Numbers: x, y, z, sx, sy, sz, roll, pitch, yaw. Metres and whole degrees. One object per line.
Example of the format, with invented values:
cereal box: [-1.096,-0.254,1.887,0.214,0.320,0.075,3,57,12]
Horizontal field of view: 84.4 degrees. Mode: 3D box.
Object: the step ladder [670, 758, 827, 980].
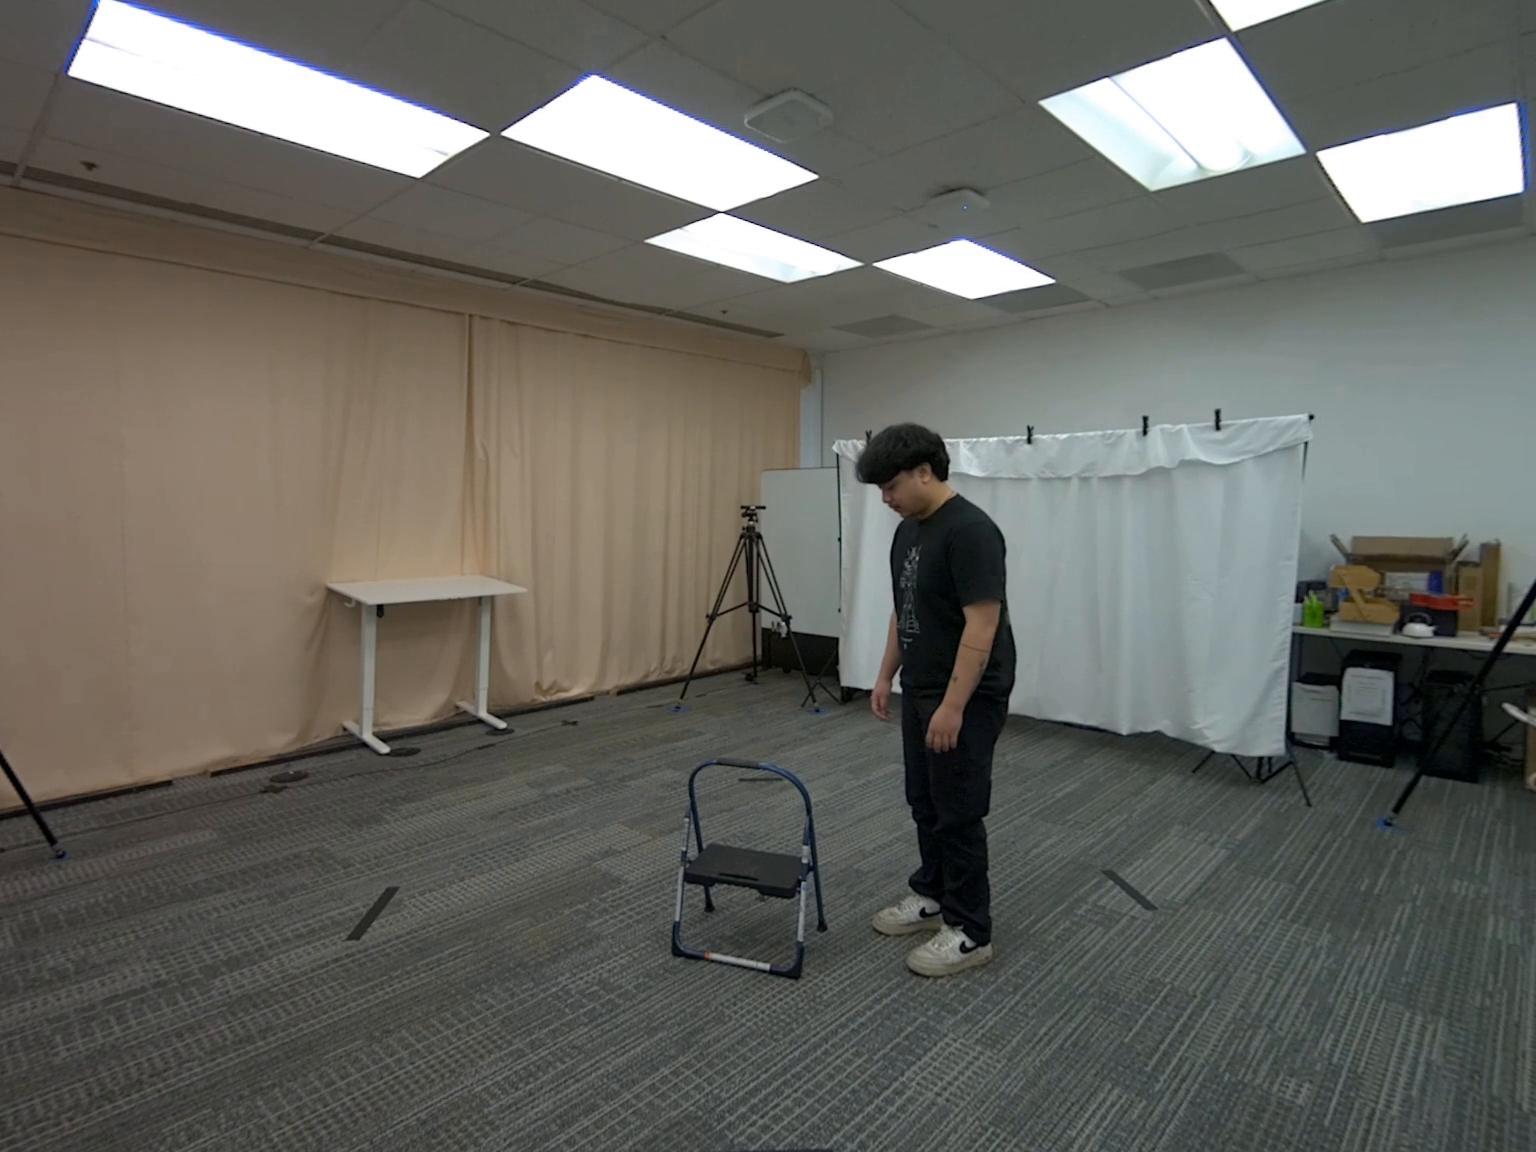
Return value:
step ladder: [-0.054,0.870,2.686,0.439,0.605,0.343,1,3,18]
